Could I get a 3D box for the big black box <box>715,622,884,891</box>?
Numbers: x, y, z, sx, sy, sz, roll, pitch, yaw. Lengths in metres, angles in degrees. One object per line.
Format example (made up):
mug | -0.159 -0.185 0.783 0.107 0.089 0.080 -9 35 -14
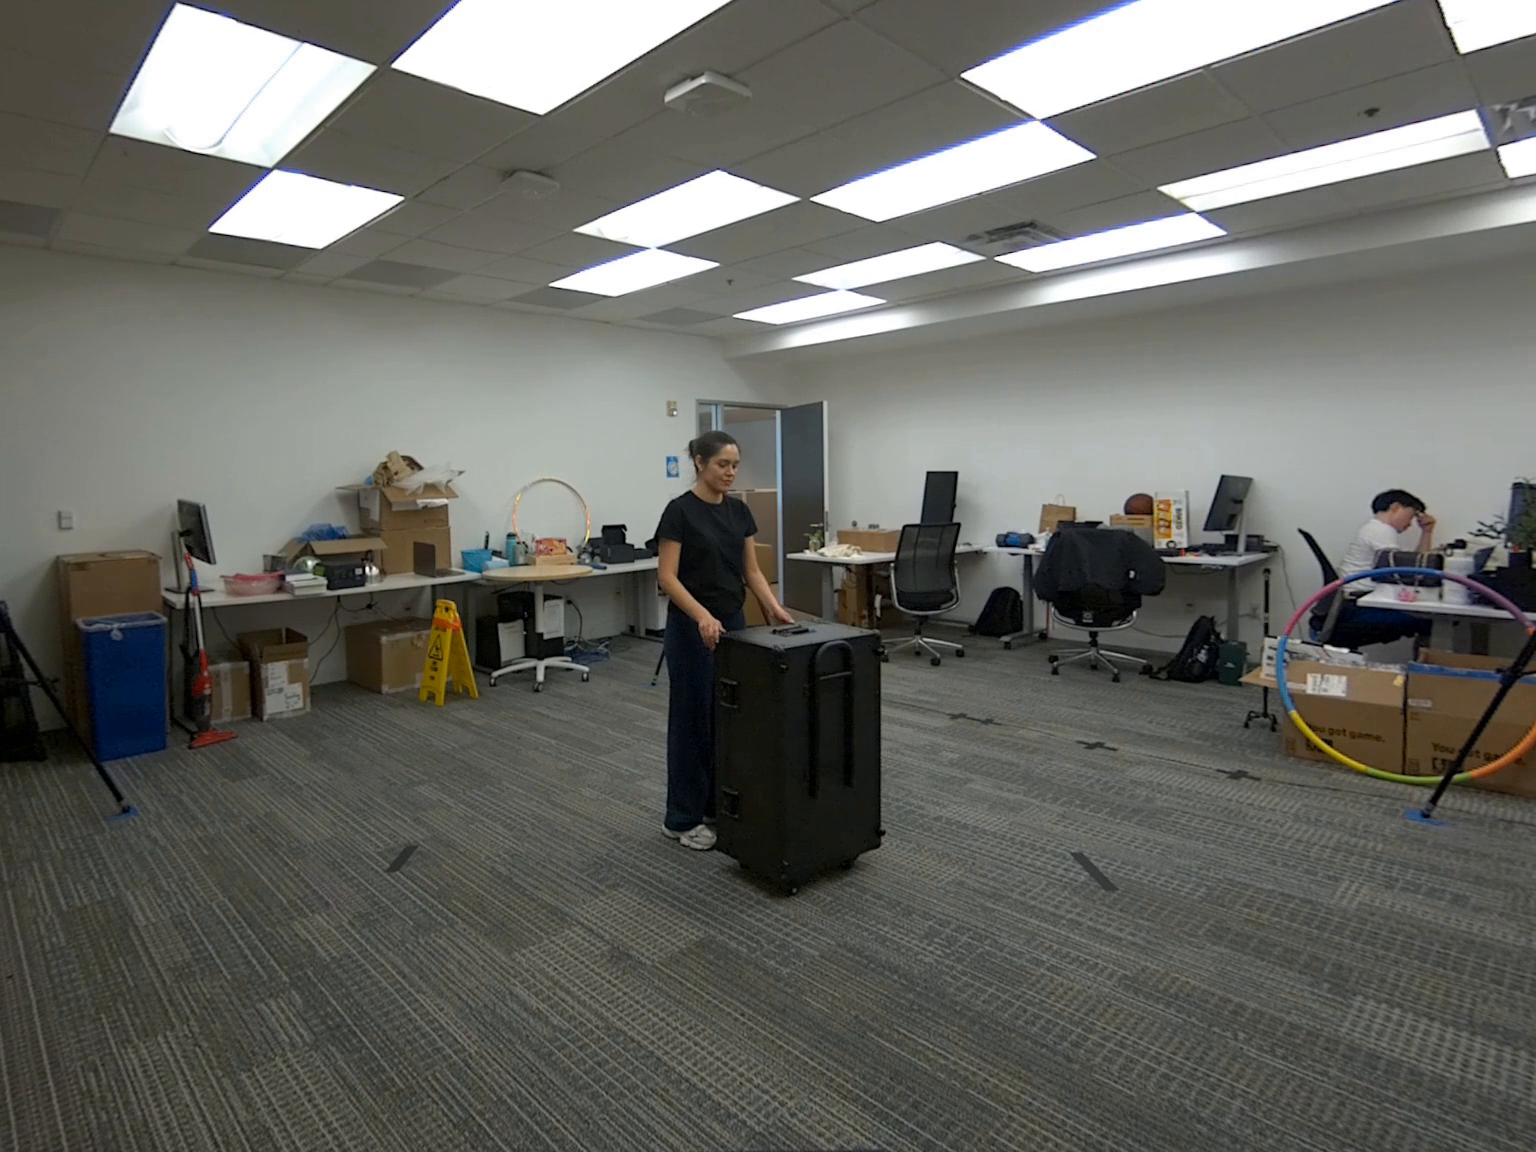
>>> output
big black box | 0.122 0.627 3.042 0.507 0.858 0.408 -3 6 -38
